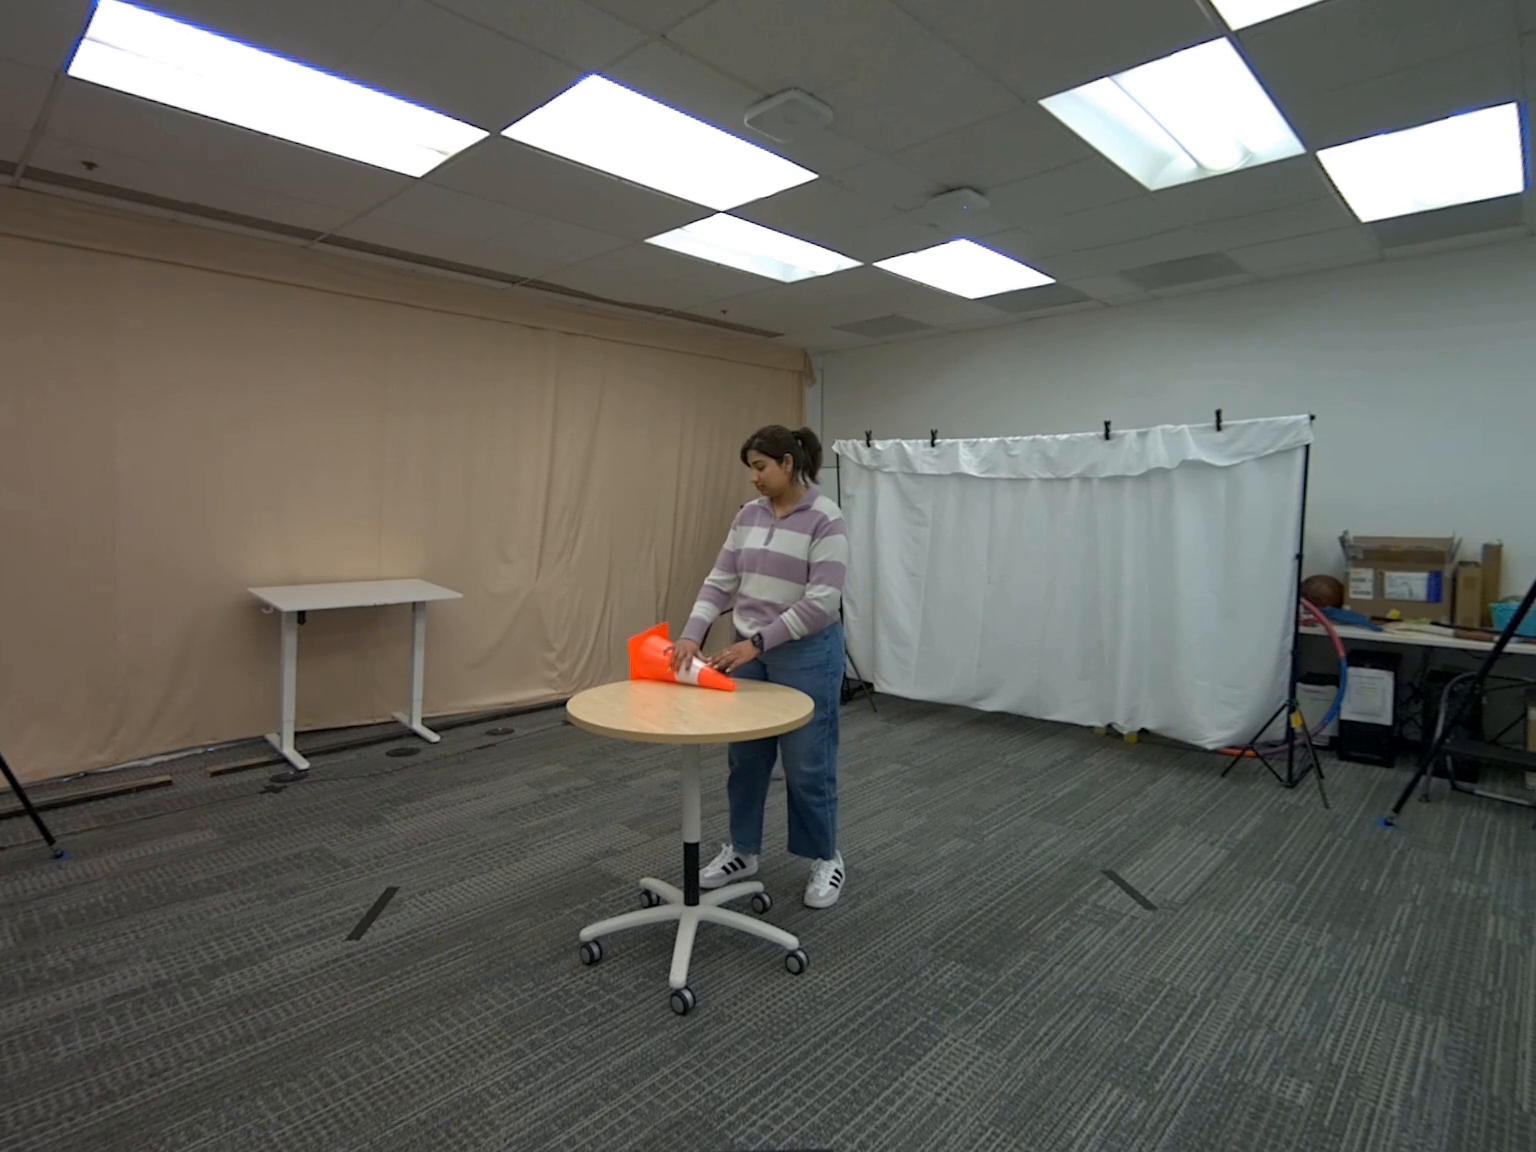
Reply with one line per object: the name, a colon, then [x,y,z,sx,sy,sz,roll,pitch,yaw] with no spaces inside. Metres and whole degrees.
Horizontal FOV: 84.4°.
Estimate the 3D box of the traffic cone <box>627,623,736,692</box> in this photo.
traffic cone: [-0.269,0.327,2.868,0.397,0.201,0.200,15,25,37]
